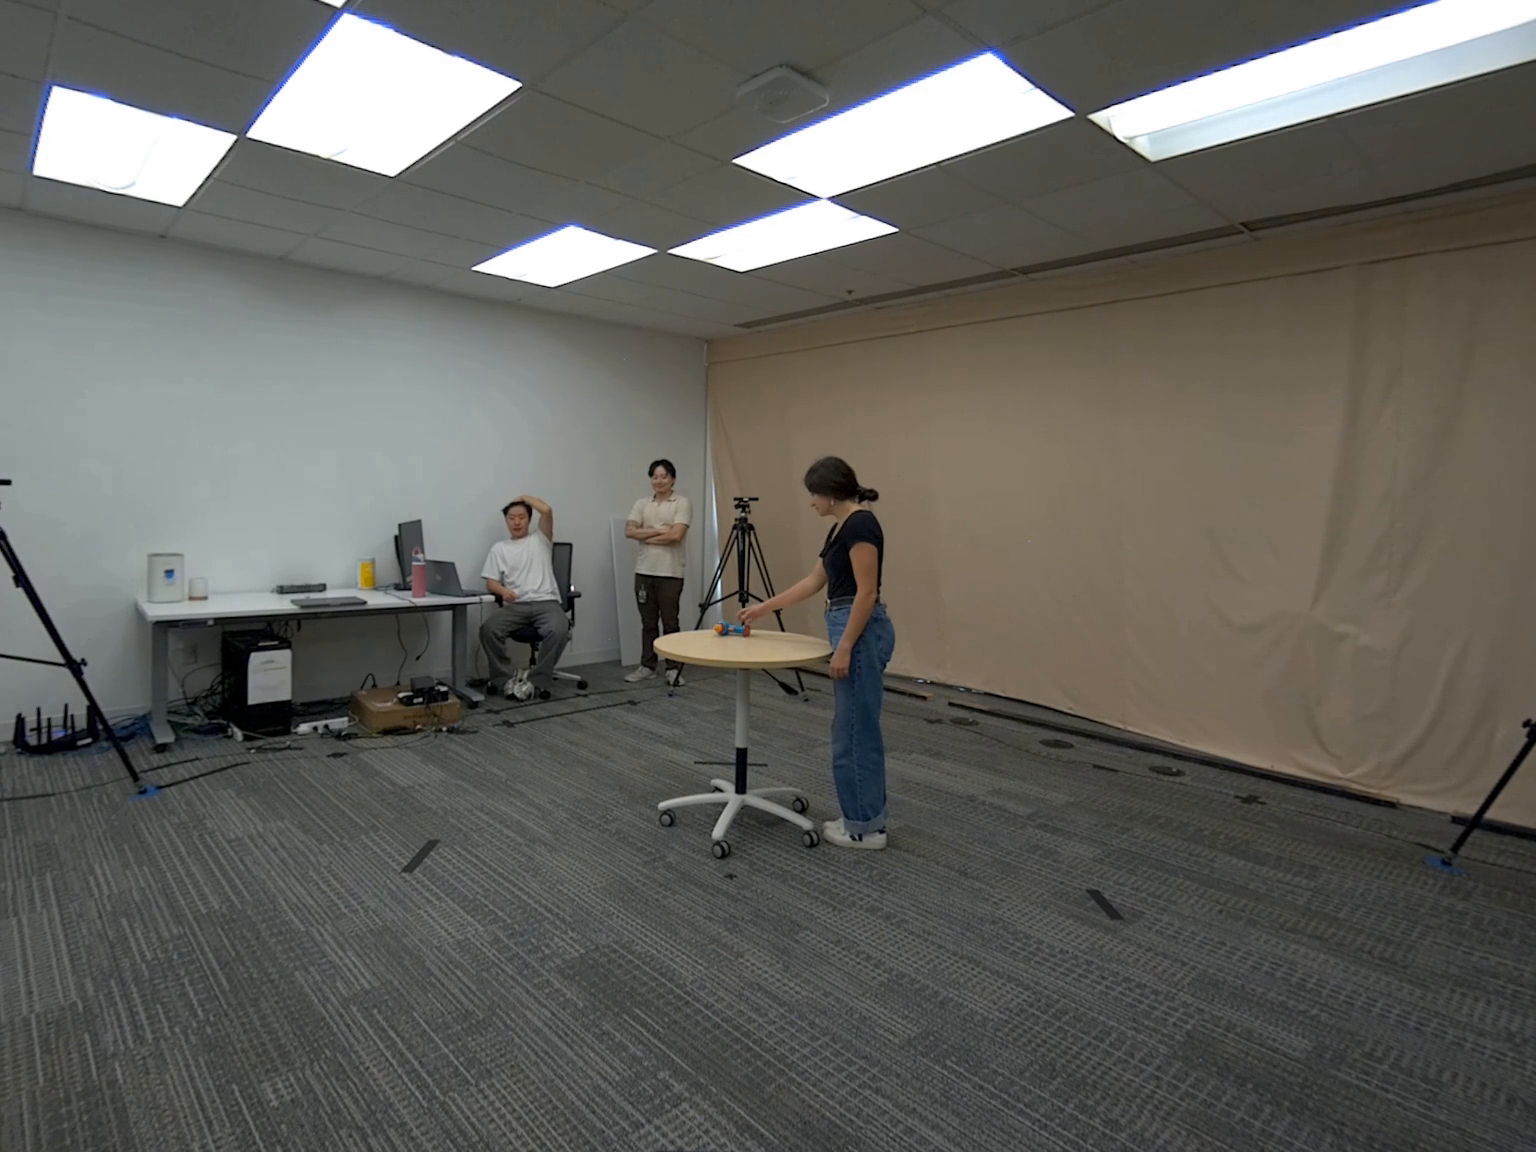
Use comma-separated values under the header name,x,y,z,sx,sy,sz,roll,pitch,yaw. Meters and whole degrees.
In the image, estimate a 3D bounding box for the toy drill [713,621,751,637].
name,x,y,z,sx,sy,sz,roll,pitch,yaw
toy drill,-0.173,0.236,3.764,0.148,0.061,0.166,5,-3,21
